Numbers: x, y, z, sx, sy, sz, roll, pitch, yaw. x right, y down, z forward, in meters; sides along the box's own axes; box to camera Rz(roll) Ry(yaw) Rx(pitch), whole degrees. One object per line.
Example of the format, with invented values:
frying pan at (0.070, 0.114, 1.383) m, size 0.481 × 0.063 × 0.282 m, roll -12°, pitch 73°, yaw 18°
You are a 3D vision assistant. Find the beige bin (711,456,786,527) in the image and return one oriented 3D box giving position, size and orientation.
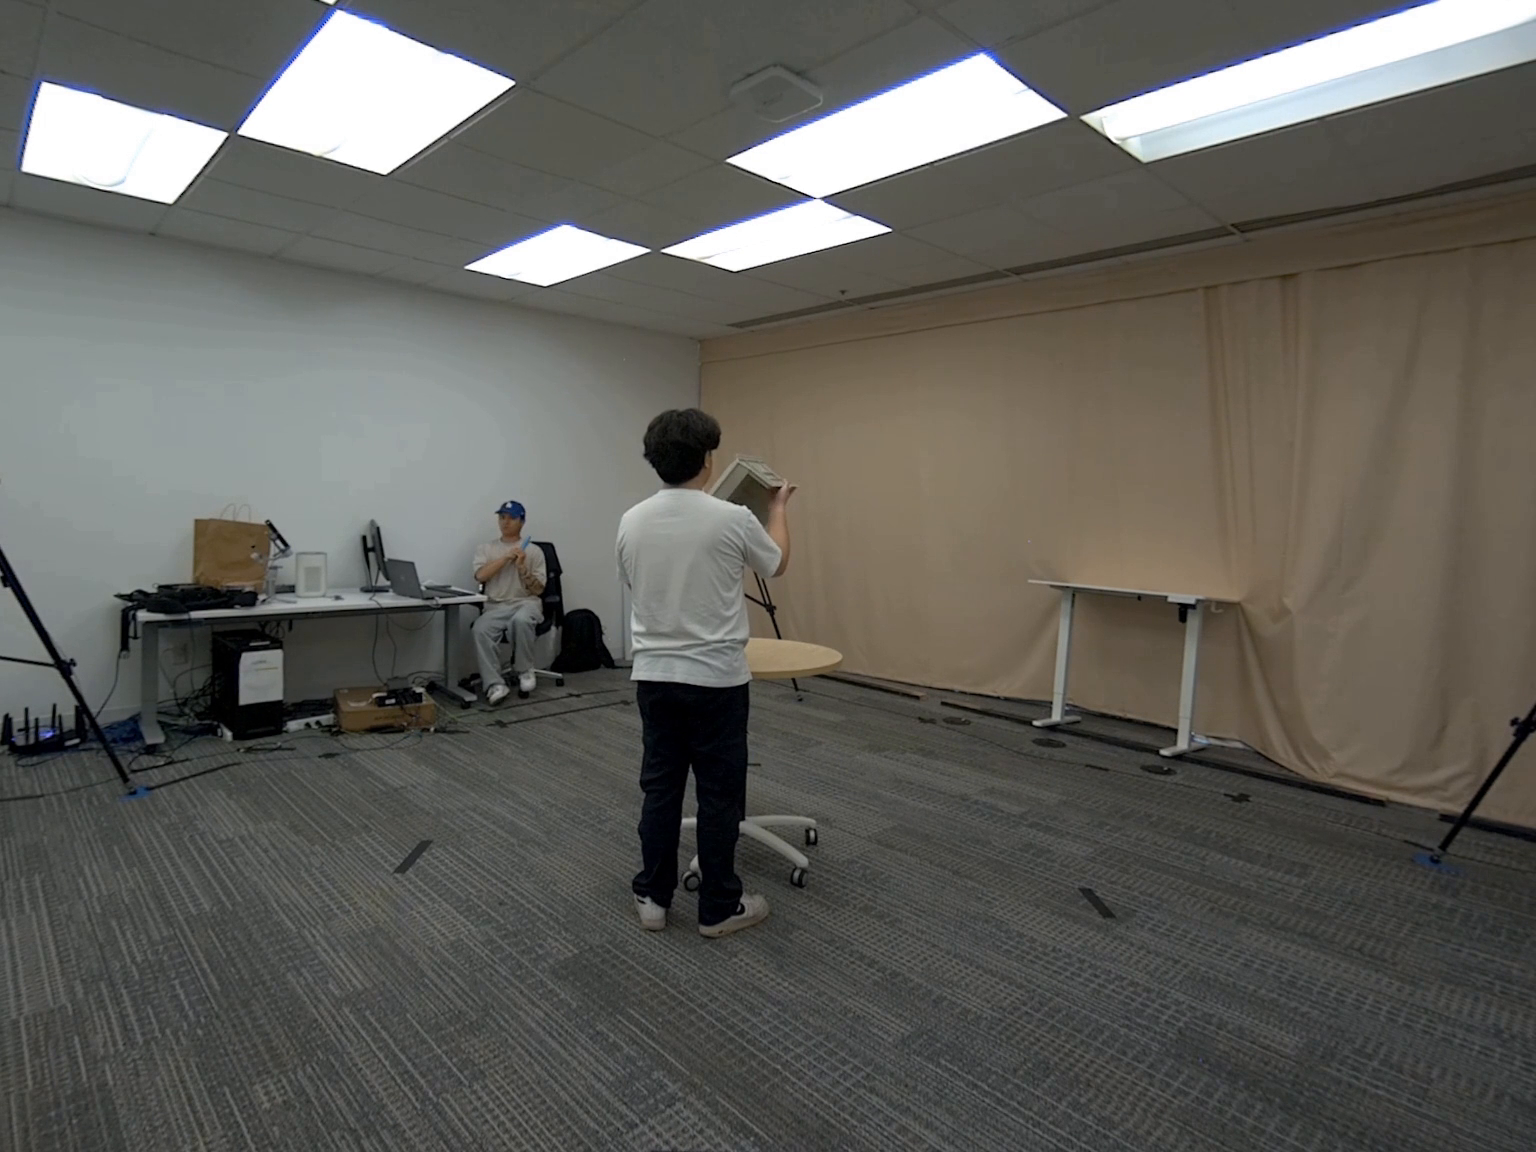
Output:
beige bin at (-0.139, -0.225, 3.117) m, size 0.191 × 0.422 × 0.373 m, roll 41°, pitch 14°, yaw 10°
